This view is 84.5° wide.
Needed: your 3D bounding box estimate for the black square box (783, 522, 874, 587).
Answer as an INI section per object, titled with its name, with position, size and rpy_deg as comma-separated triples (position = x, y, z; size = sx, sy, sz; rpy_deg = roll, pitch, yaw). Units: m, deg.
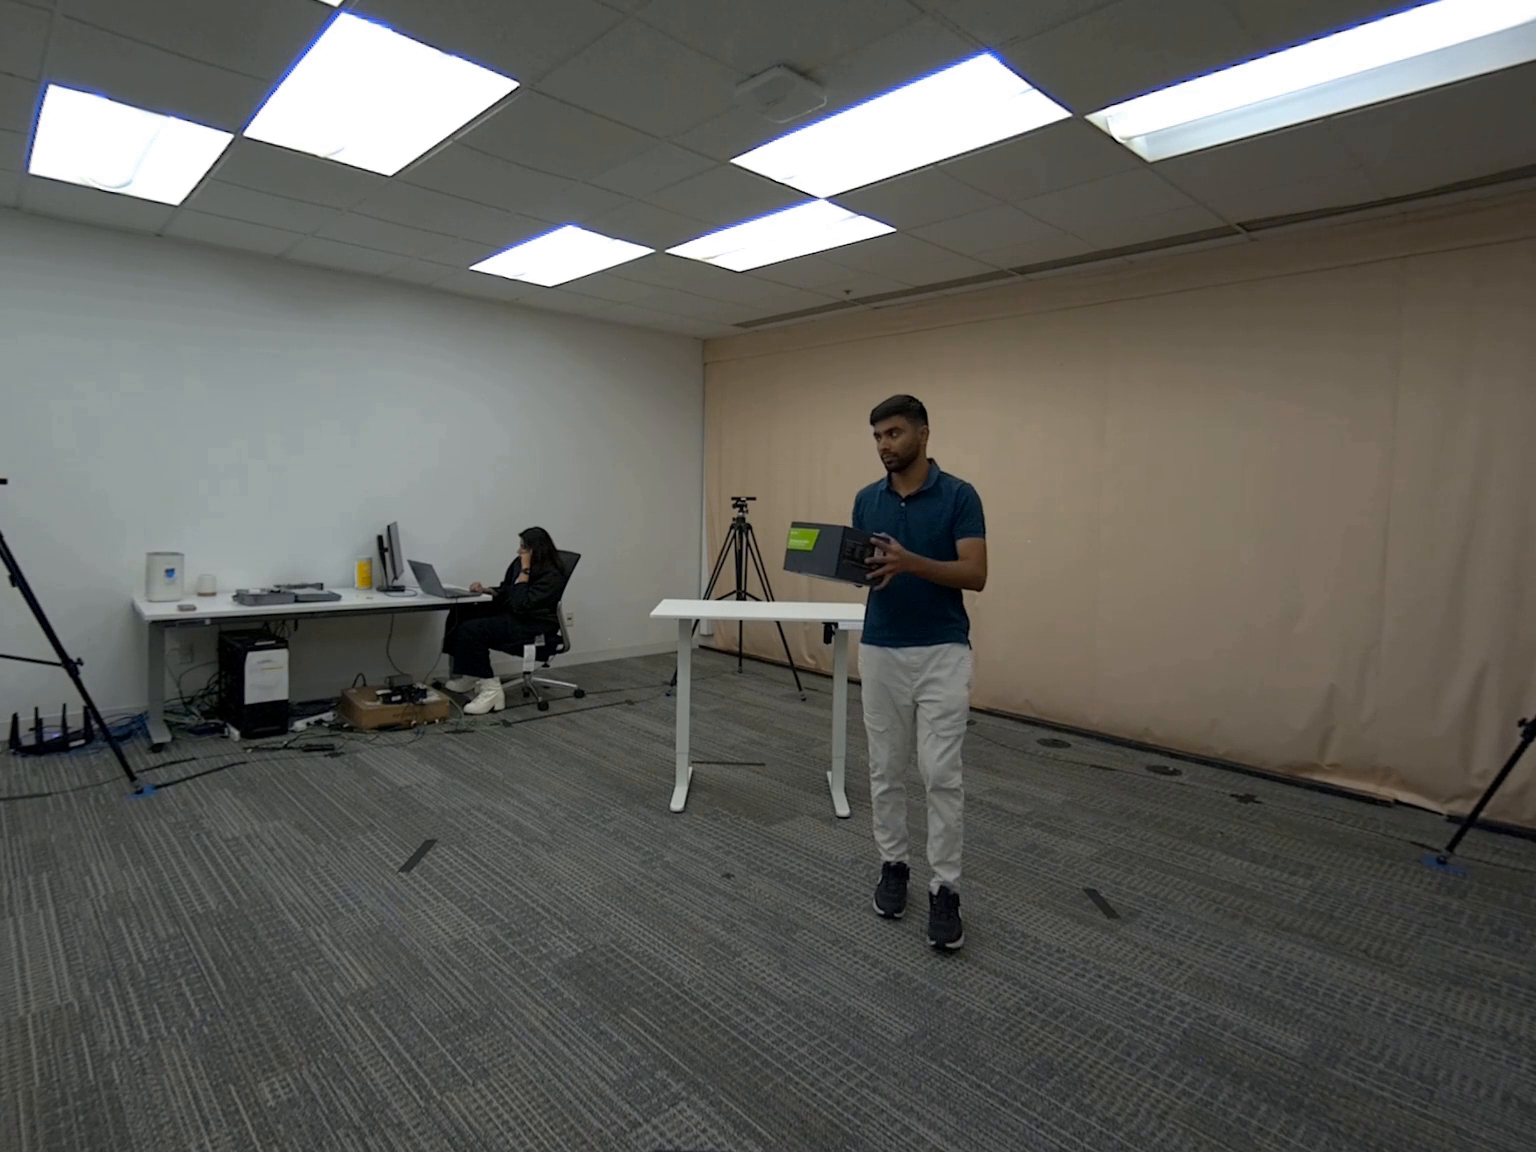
[black square box]
position = 0.203, -0.070, 2.592
size = 0.211, 0.156, 0.233
rpy_deg = 13, -4, -38
